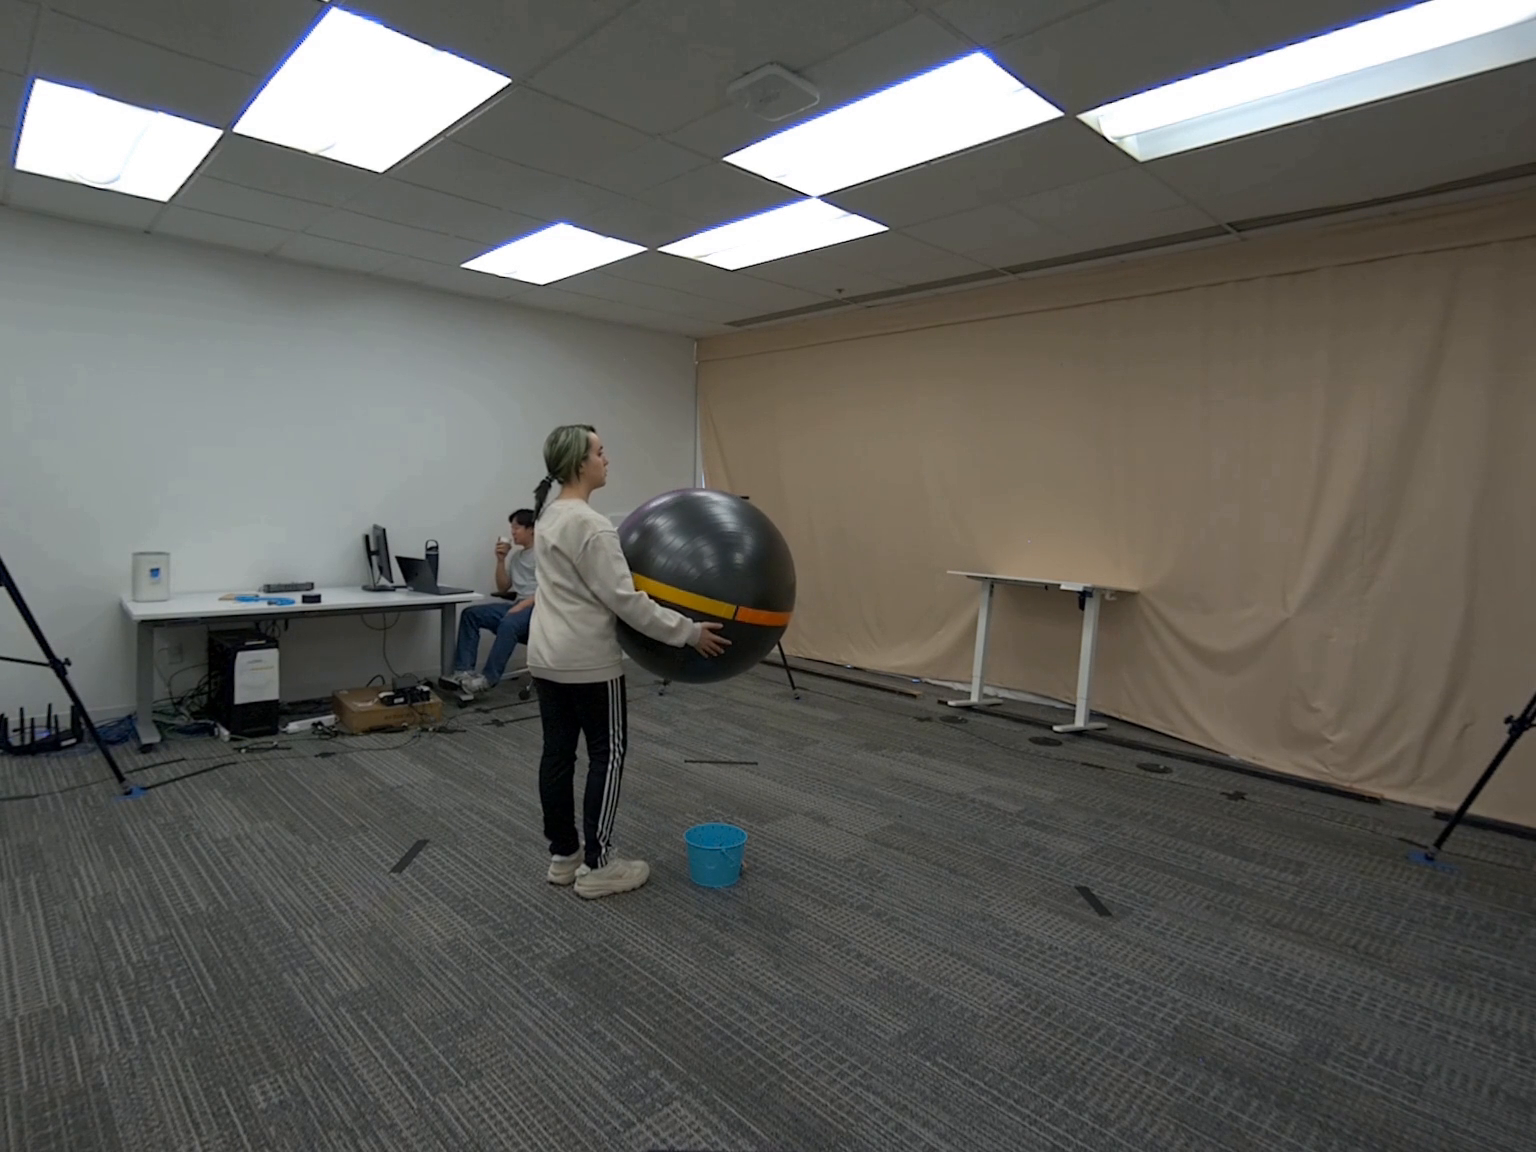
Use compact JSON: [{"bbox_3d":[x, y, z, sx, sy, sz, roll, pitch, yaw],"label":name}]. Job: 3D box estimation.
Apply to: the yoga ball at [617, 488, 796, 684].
[{"bbox_3d":[-0.271,0.044,3.261,0.757,0.756,0.761,1,4,-1],"label":"yoga ball"}]
